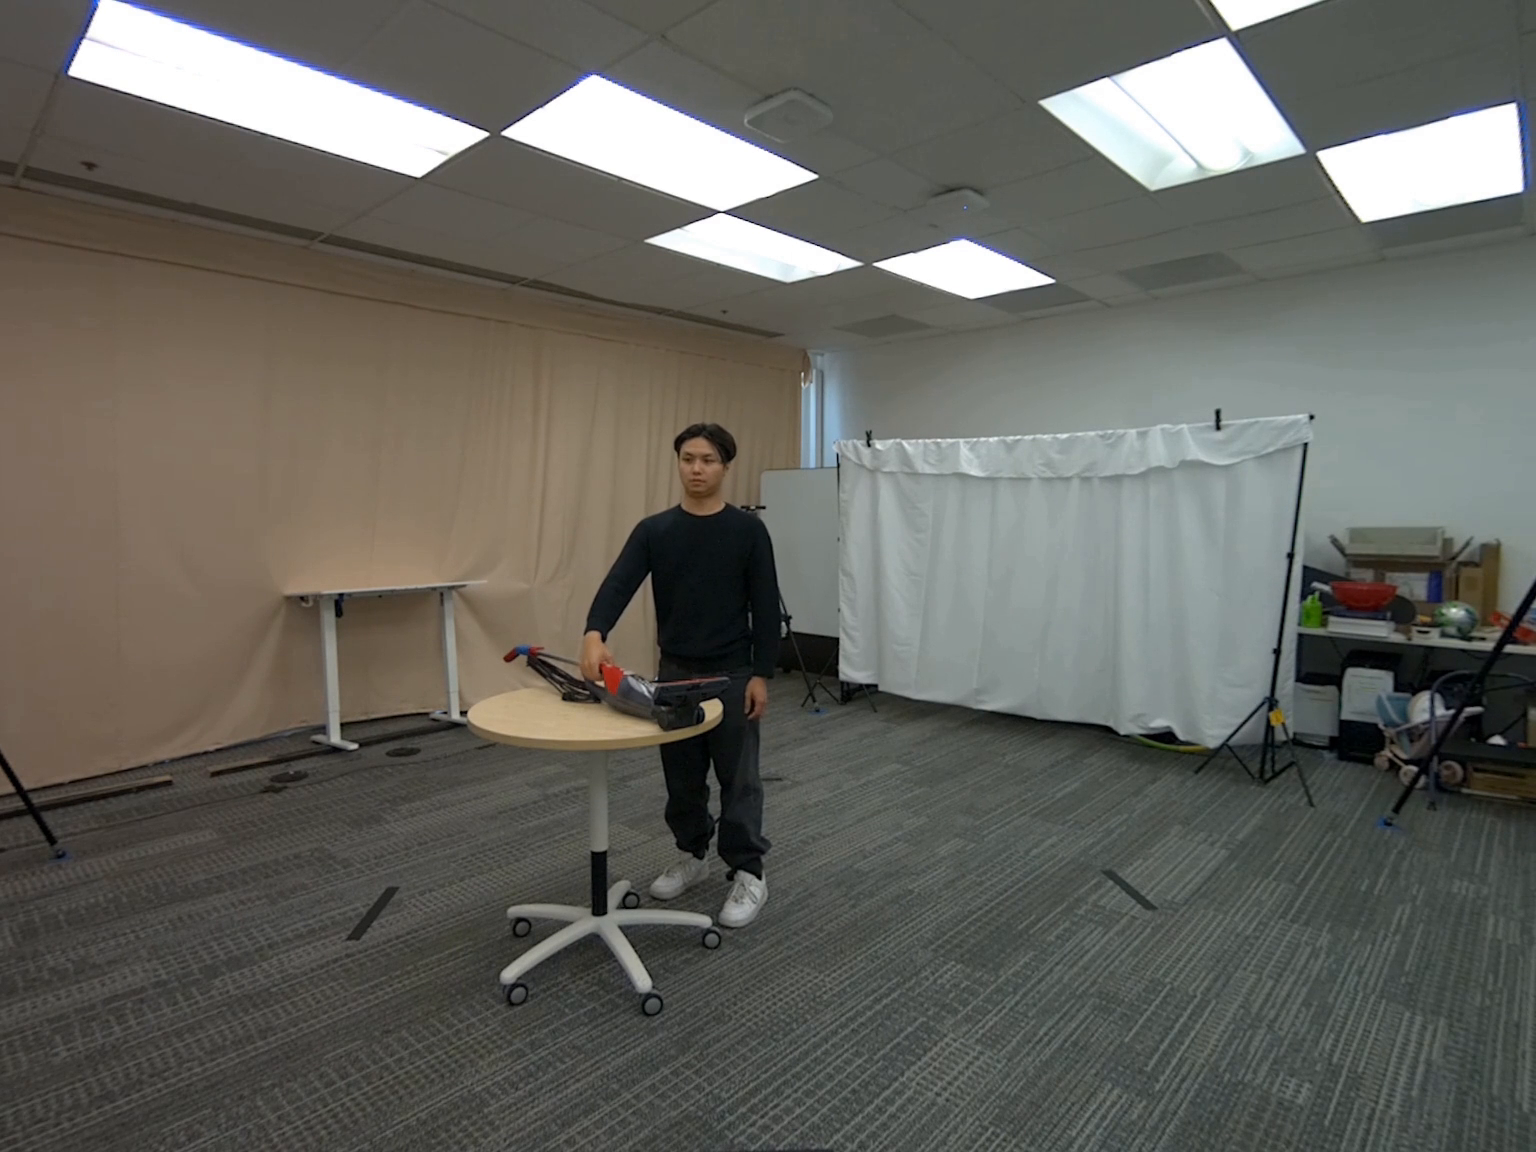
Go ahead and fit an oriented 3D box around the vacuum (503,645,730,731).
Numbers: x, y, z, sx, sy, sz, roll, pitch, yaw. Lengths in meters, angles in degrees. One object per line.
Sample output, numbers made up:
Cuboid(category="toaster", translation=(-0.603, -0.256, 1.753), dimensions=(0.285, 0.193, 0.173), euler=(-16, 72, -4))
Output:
Cuboid(category="vacuum", translation=(-0.580, 0.334, 2.674), dimensions=(0.245, 0.144, 1.084), euler=(-2, 4, -43))
